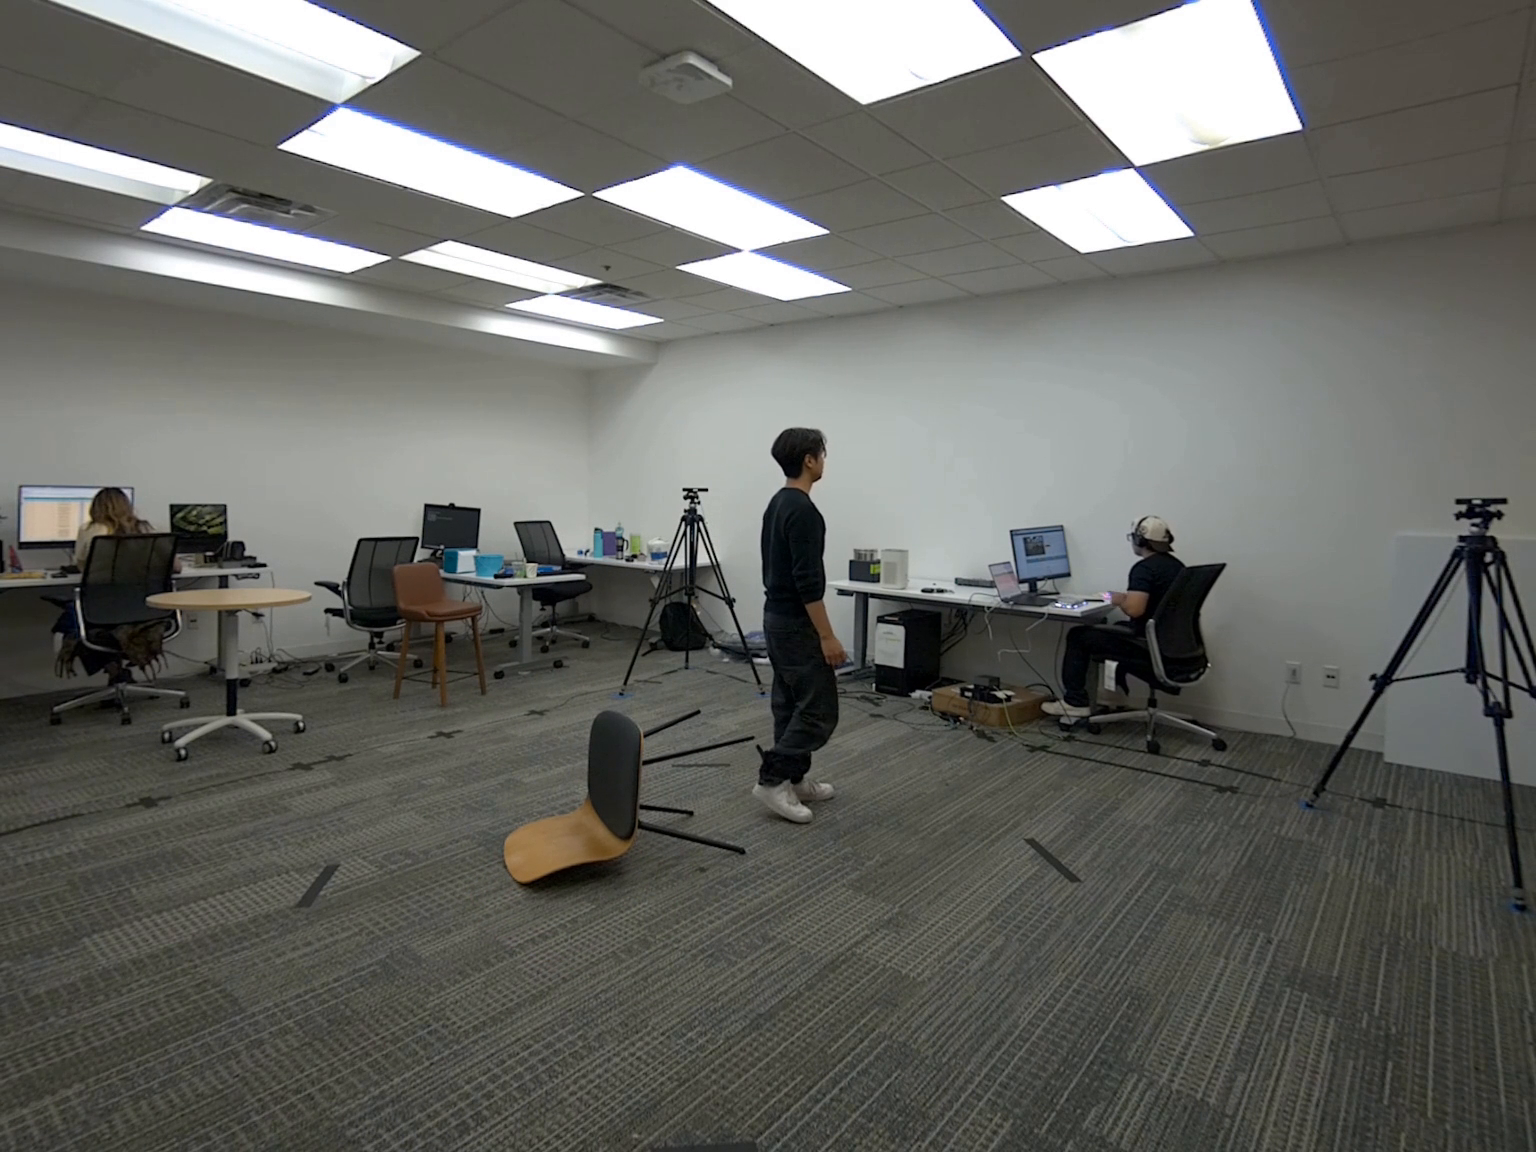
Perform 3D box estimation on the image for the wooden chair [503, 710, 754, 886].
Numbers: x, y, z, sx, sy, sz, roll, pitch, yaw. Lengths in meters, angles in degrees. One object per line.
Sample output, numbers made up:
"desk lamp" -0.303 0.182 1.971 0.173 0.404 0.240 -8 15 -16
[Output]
"wooden chair" -0.557 0.793 3.231 0.854 0.521 0.492 -3 5 -30
